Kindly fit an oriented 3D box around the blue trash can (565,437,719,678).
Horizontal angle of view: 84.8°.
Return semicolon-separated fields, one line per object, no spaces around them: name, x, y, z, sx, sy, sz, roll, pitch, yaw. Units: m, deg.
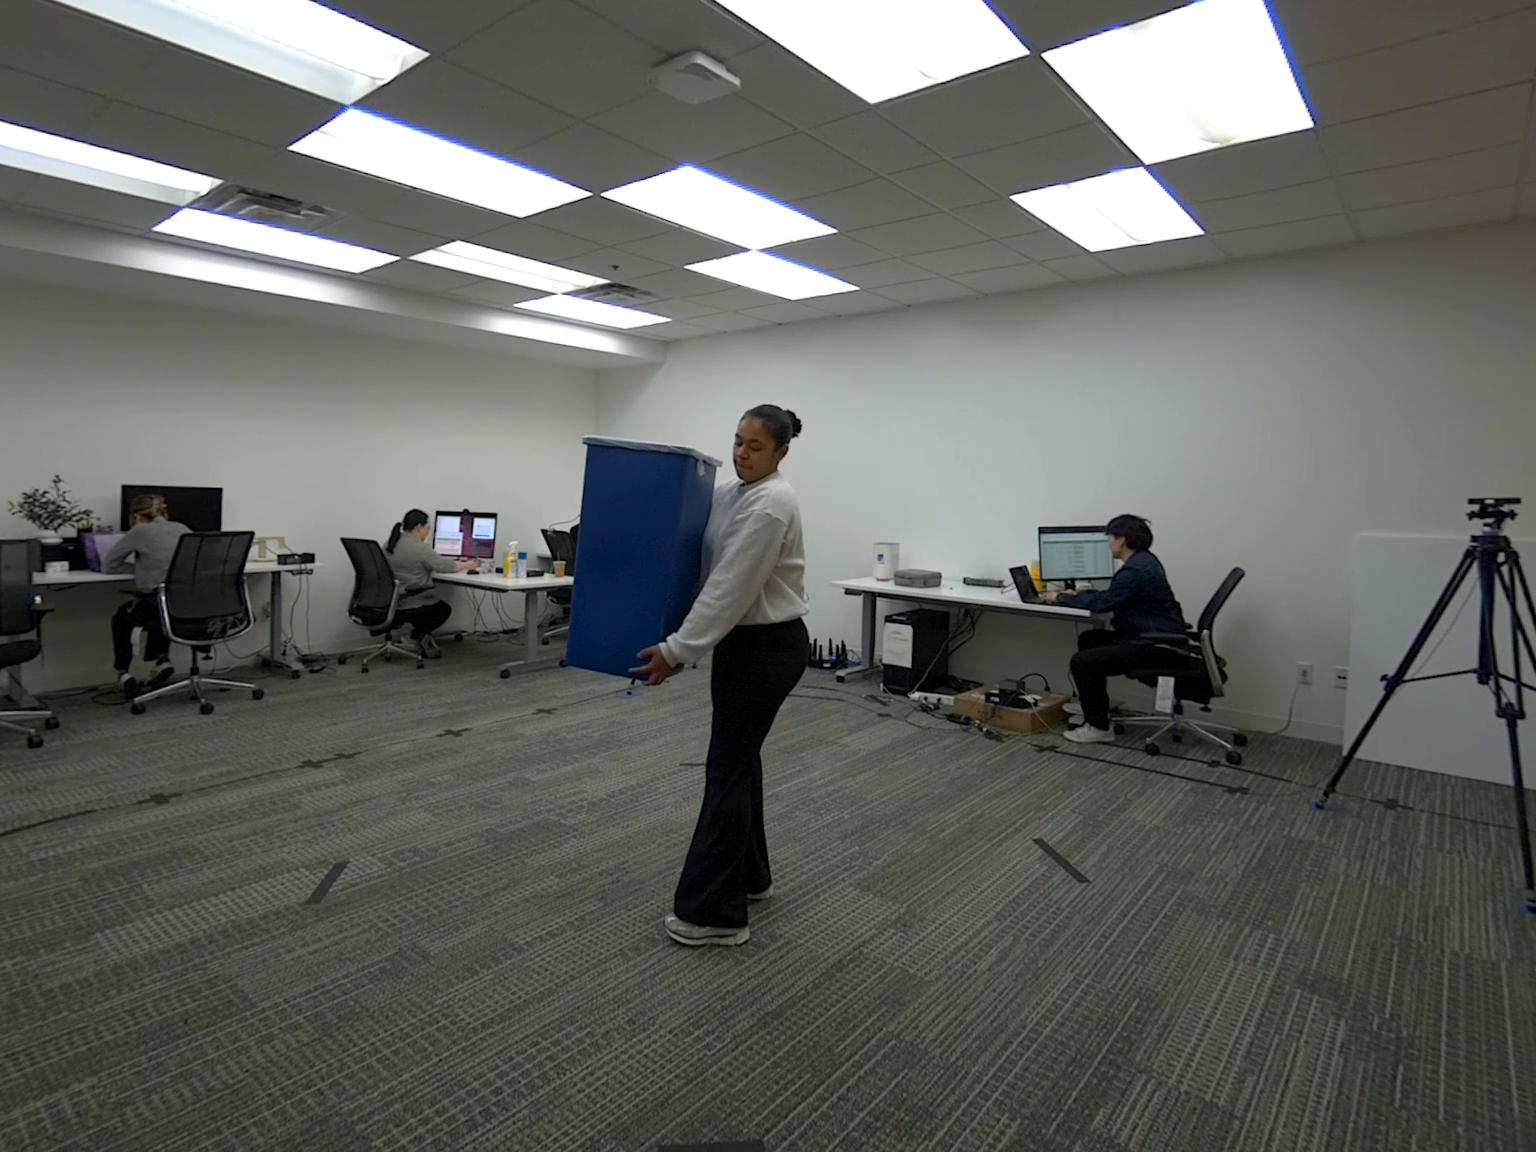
blue trash can;-0.415;-0.063;2.736;0.384;0.713;0.368;8;0;12
